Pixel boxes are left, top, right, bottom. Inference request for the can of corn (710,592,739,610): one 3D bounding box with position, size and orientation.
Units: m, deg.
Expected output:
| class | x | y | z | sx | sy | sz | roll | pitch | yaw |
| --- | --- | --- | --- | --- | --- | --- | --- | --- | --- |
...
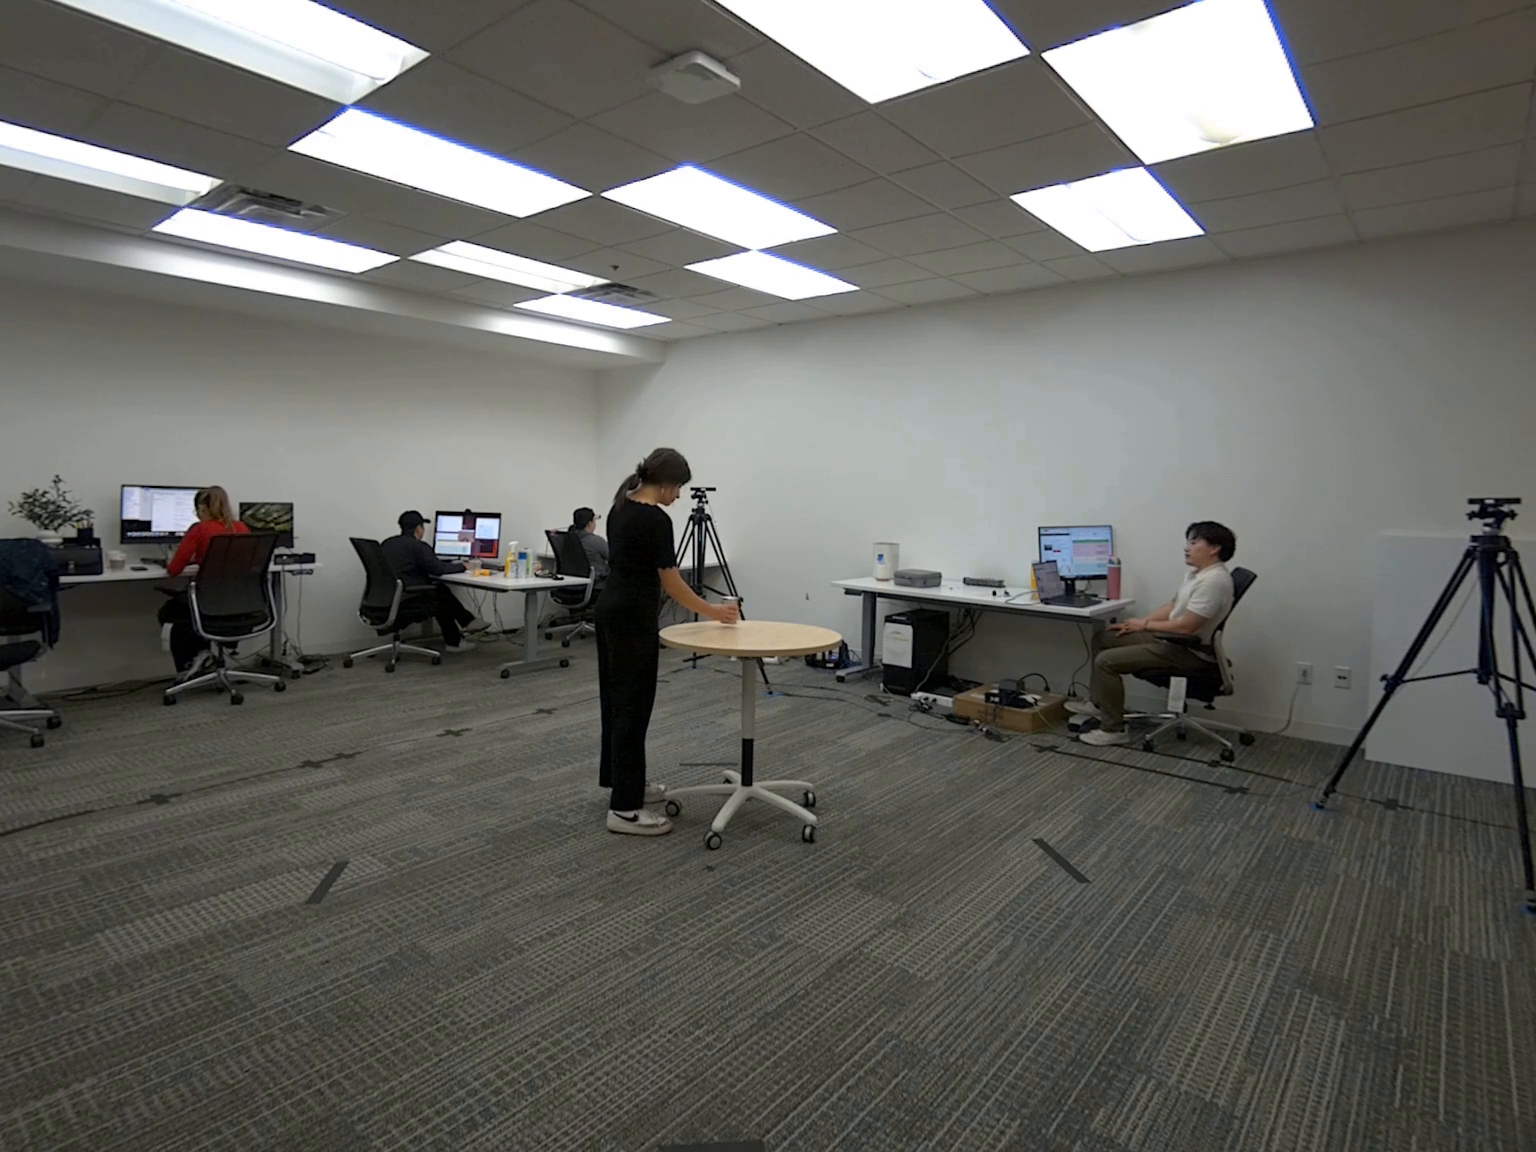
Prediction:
| class | x | y | z | sx | sy | sz | roll | pitch | yaw |
| --- | --- | --- | --- | --- | --- | --- | --- | --- | --- |
| can of corn | -0.181 | 0.148 | 3.729 | 0.074 | 0.111 | 0.074 | 2 | 2 | -2 |
